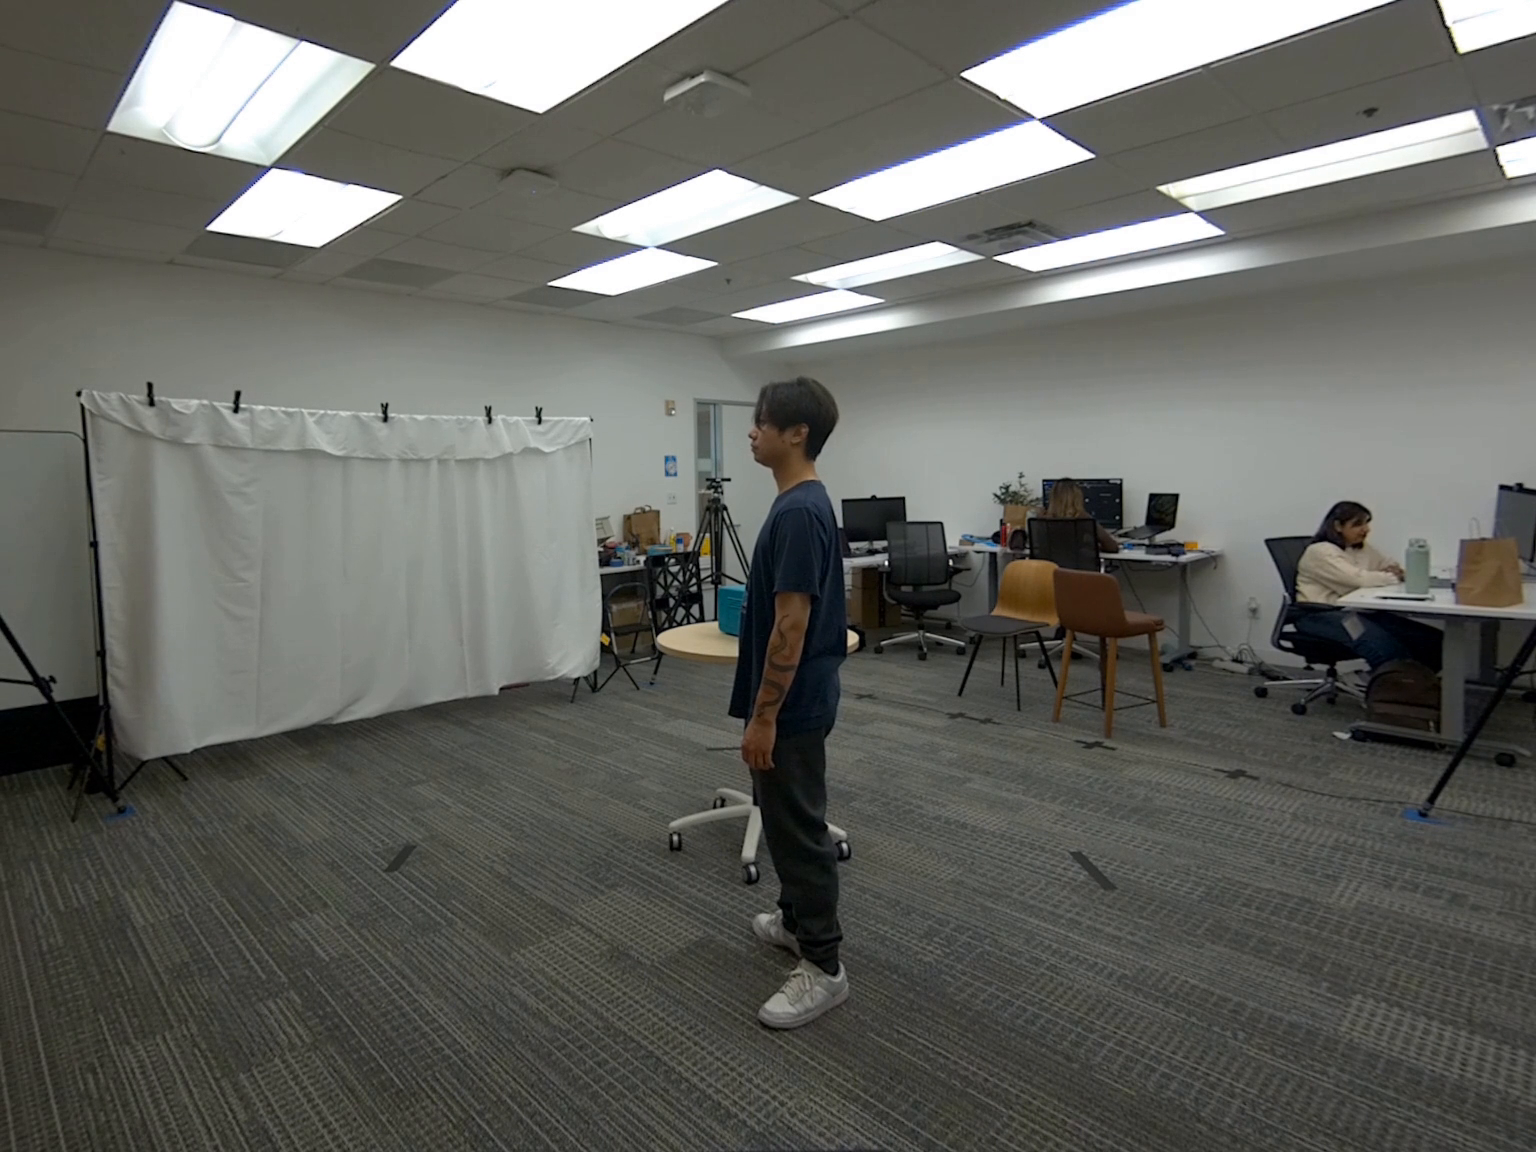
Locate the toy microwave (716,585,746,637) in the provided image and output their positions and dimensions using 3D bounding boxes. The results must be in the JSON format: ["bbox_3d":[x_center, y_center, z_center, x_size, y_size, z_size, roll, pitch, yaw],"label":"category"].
[{"bbox_3d":[-0.051,0.138,3.271,0.148,0.183,0.295,-4,6,-38],"label":"toy microwave"}]
